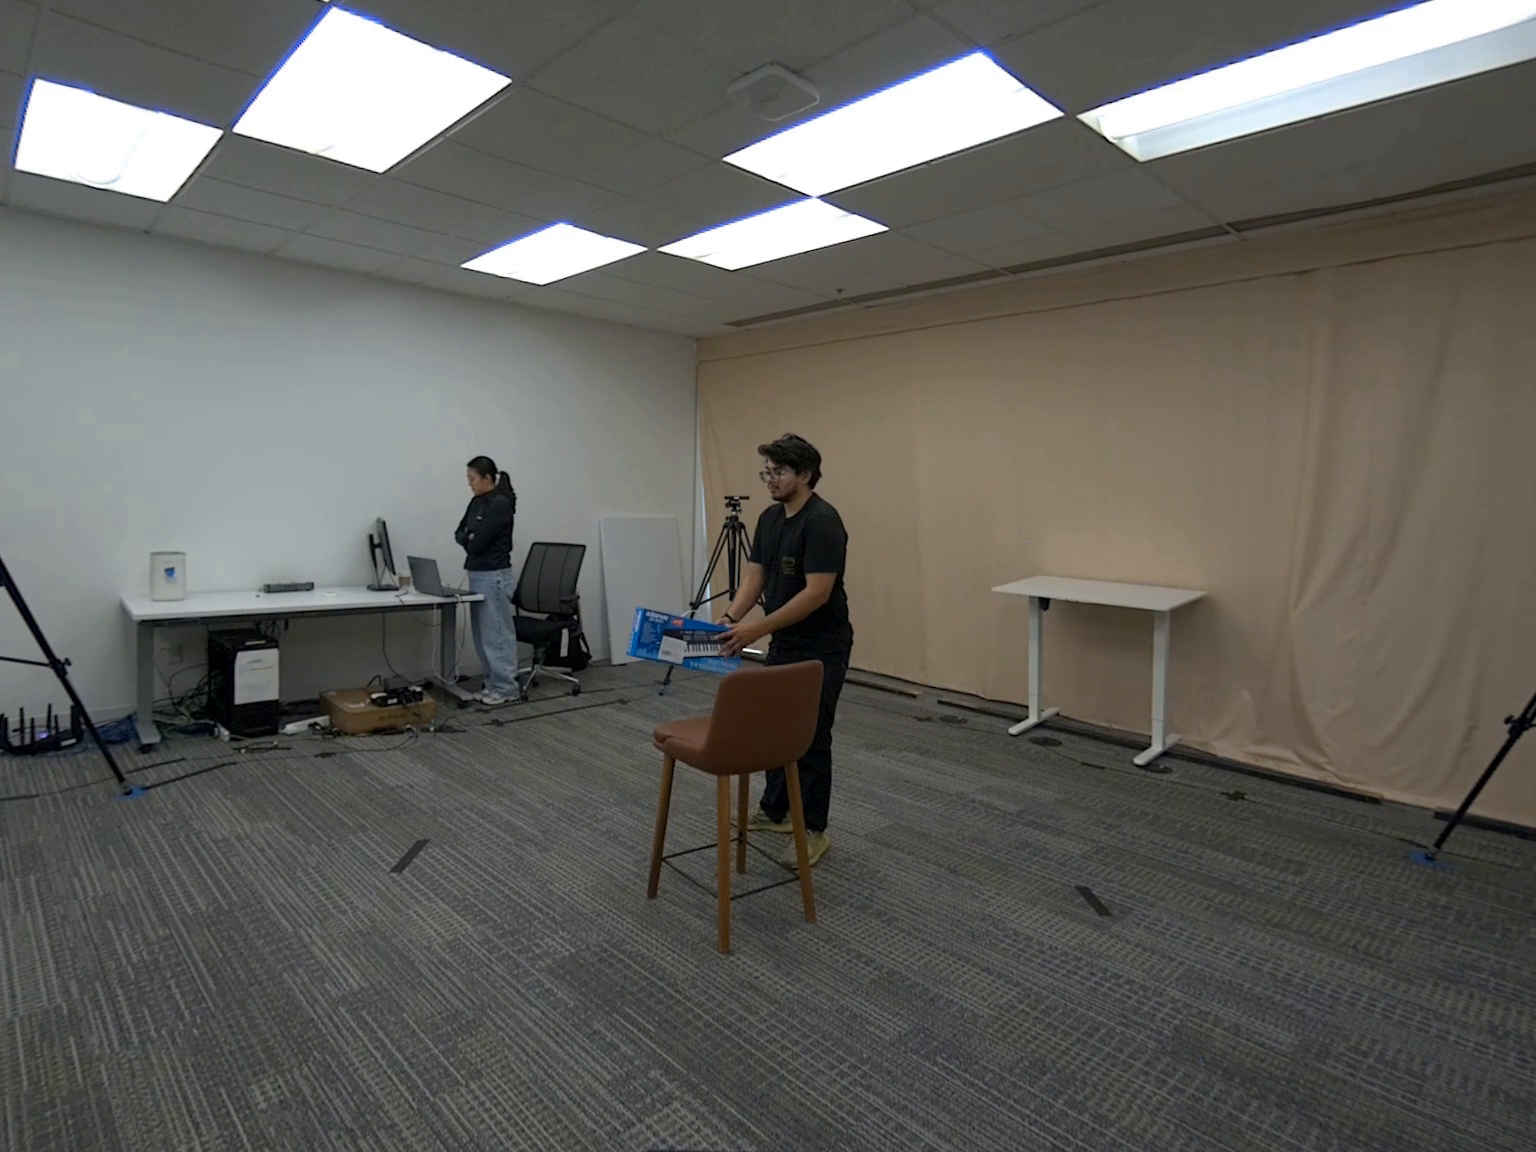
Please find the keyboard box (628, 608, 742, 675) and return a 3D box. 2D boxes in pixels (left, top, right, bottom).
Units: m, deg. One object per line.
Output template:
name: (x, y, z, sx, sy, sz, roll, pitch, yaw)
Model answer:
keyboard box: (-0.295, 0.241, 3.054, 0.425, 0.177, 0.060, 16, -9, -32)
